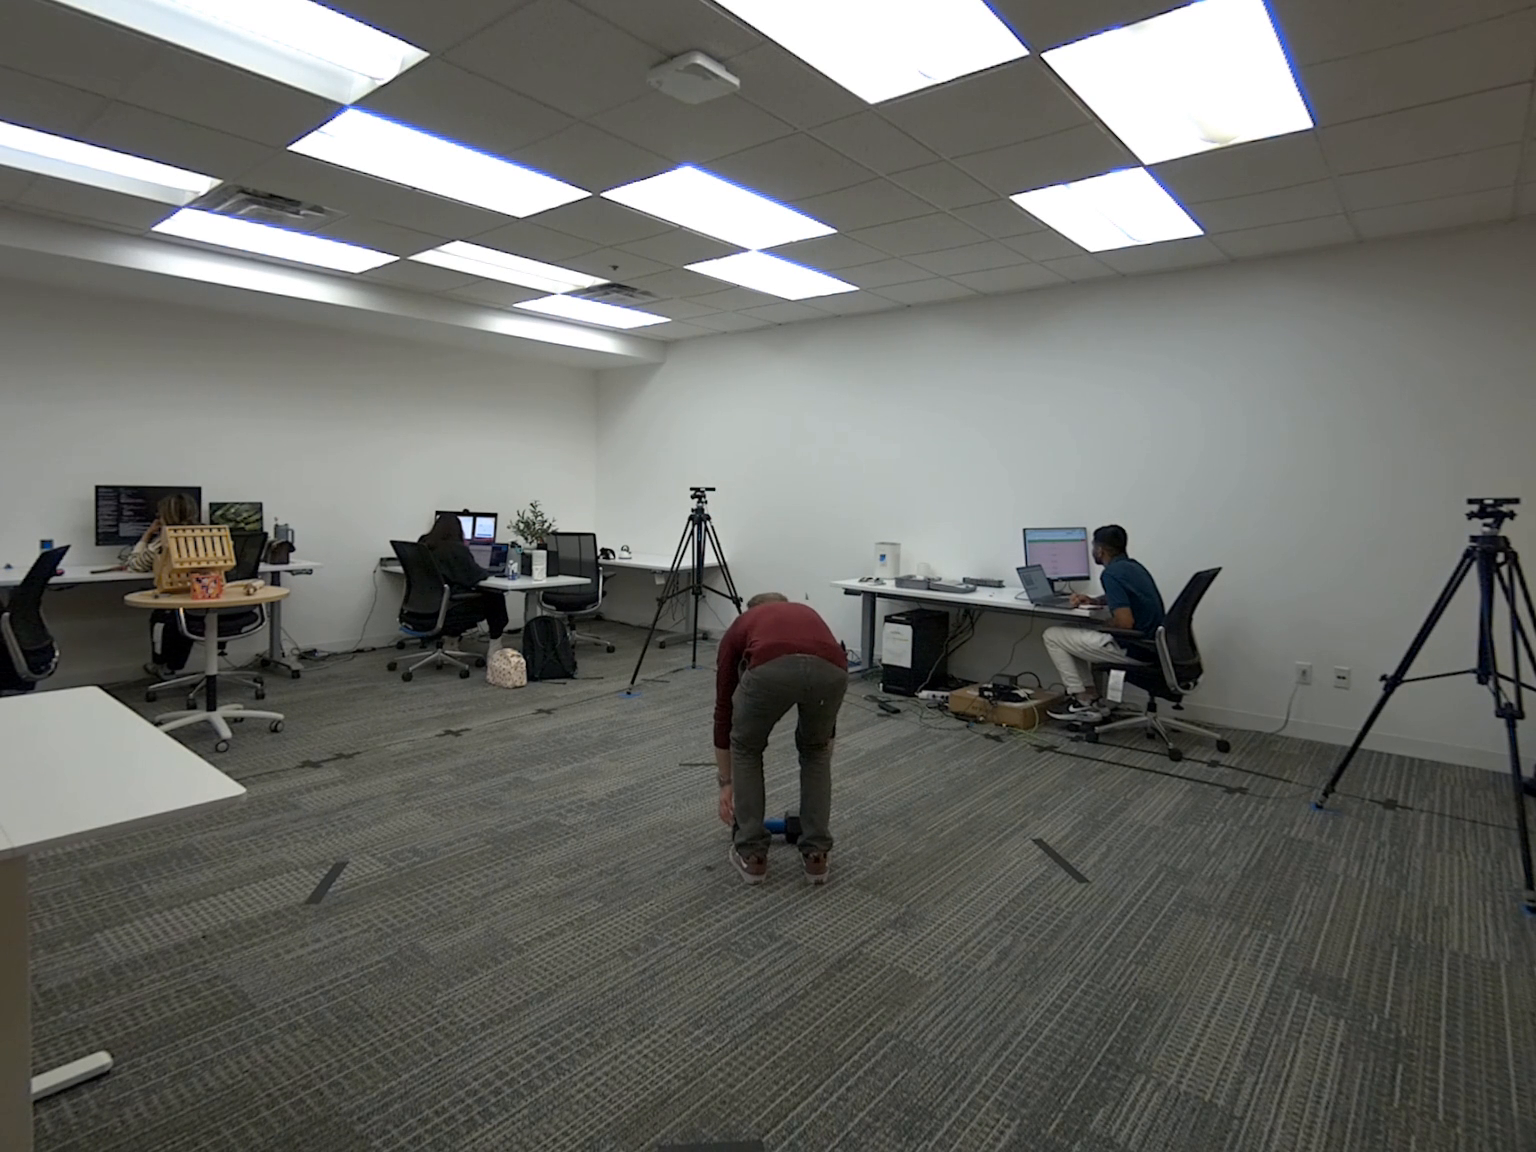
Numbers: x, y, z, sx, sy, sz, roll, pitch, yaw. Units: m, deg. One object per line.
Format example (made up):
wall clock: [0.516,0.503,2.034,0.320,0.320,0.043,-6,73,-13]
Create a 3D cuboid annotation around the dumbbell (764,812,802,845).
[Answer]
dumbbell: [0.000,0.993,3.375,0.292,0.120,0.112,1,32,-3]
